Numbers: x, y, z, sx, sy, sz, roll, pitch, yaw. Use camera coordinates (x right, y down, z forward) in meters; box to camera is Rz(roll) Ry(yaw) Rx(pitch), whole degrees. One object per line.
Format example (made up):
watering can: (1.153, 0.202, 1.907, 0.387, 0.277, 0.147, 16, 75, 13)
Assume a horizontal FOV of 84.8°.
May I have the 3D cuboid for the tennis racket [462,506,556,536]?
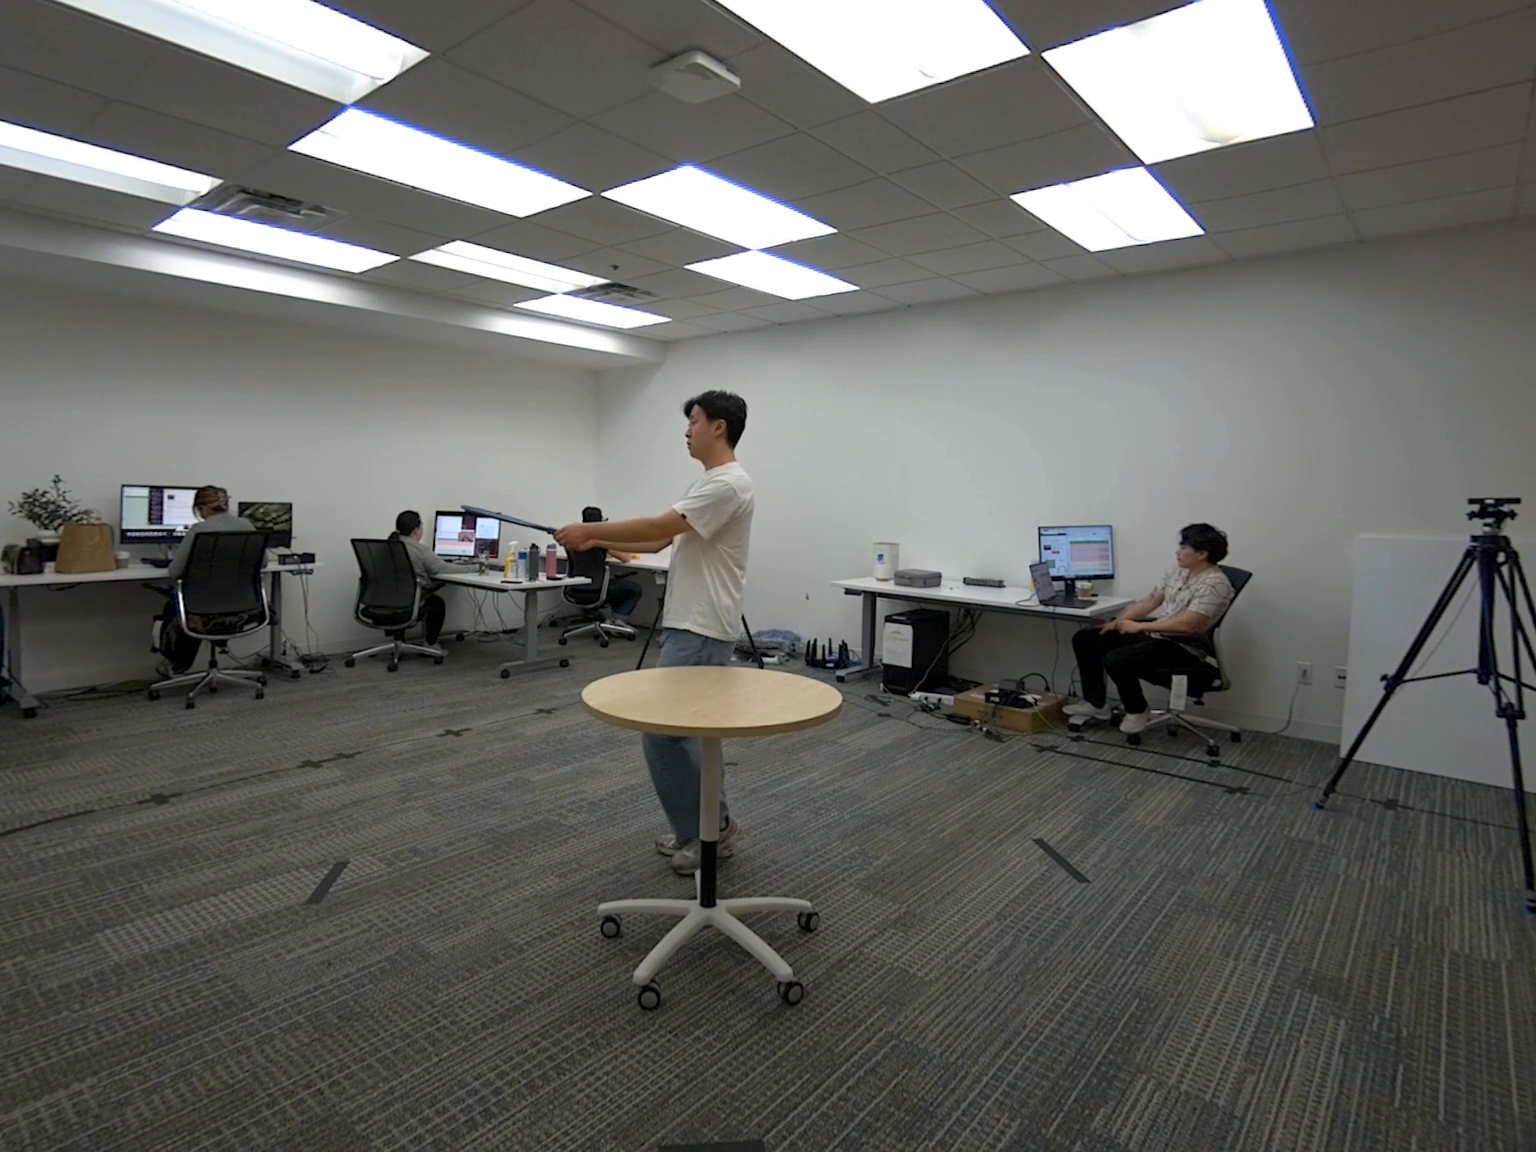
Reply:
tennis racket: (-0.883, -0.188, 3.041, 0.420, 0.032, 0.220, 14, 3, -27)
